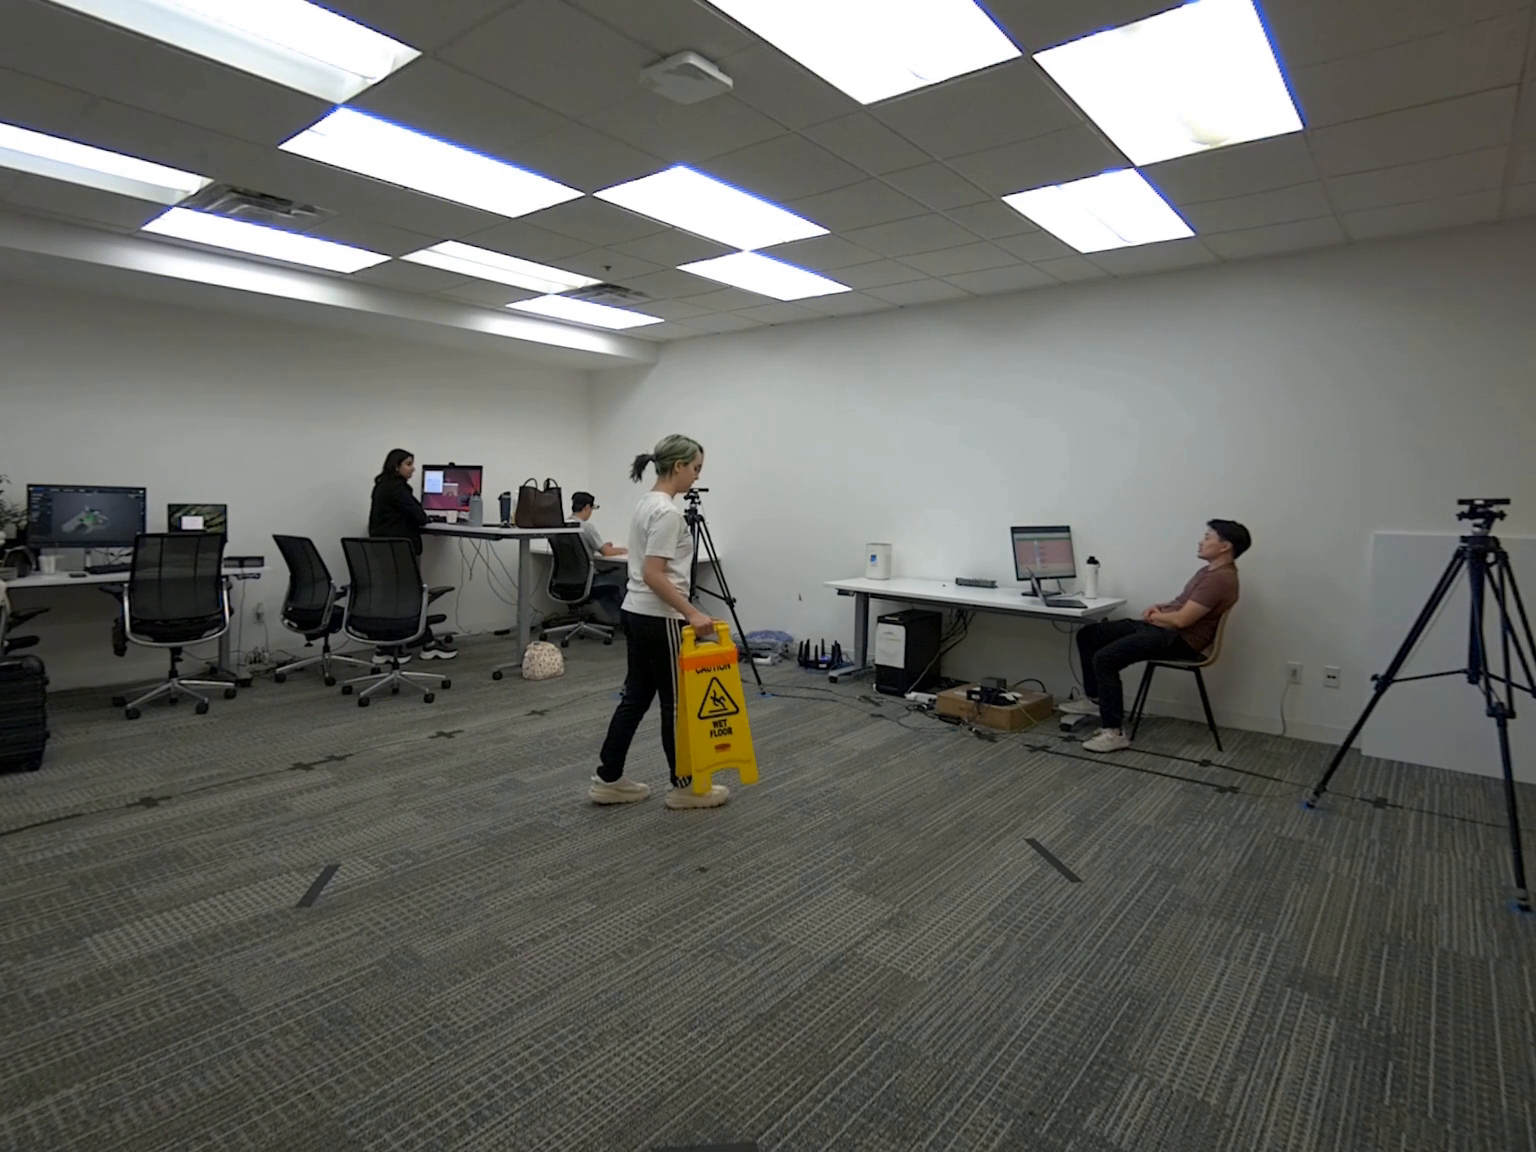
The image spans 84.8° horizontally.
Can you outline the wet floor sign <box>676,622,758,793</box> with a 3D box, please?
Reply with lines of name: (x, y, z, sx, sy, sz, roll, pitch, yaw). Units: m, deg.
wet floor sign: (-0.240, 0.515, 3.503, 0.277, 0.642, 0.297, -7, 6, -20)
